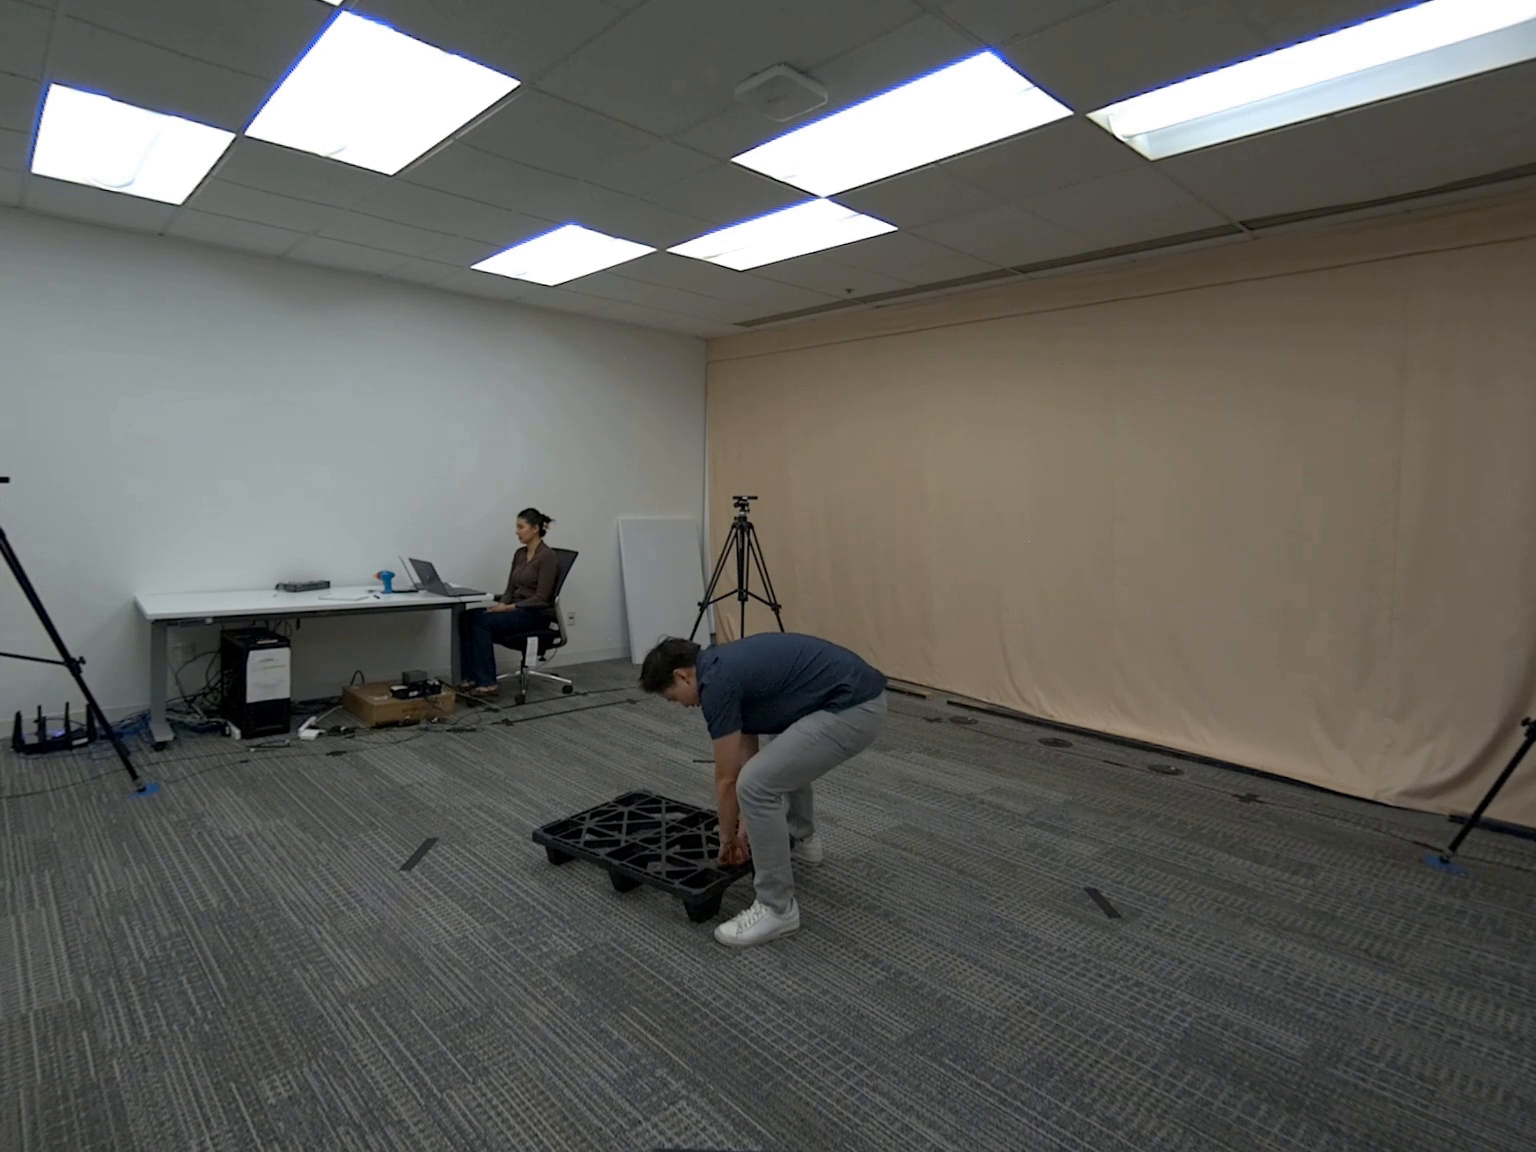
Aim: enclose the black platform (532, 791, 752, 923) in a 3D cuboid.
[{"bbox_3d":[-0.394,1.026,3.138,0.825,0.143,0.593,5,7,35],"label":"black platform"}]
